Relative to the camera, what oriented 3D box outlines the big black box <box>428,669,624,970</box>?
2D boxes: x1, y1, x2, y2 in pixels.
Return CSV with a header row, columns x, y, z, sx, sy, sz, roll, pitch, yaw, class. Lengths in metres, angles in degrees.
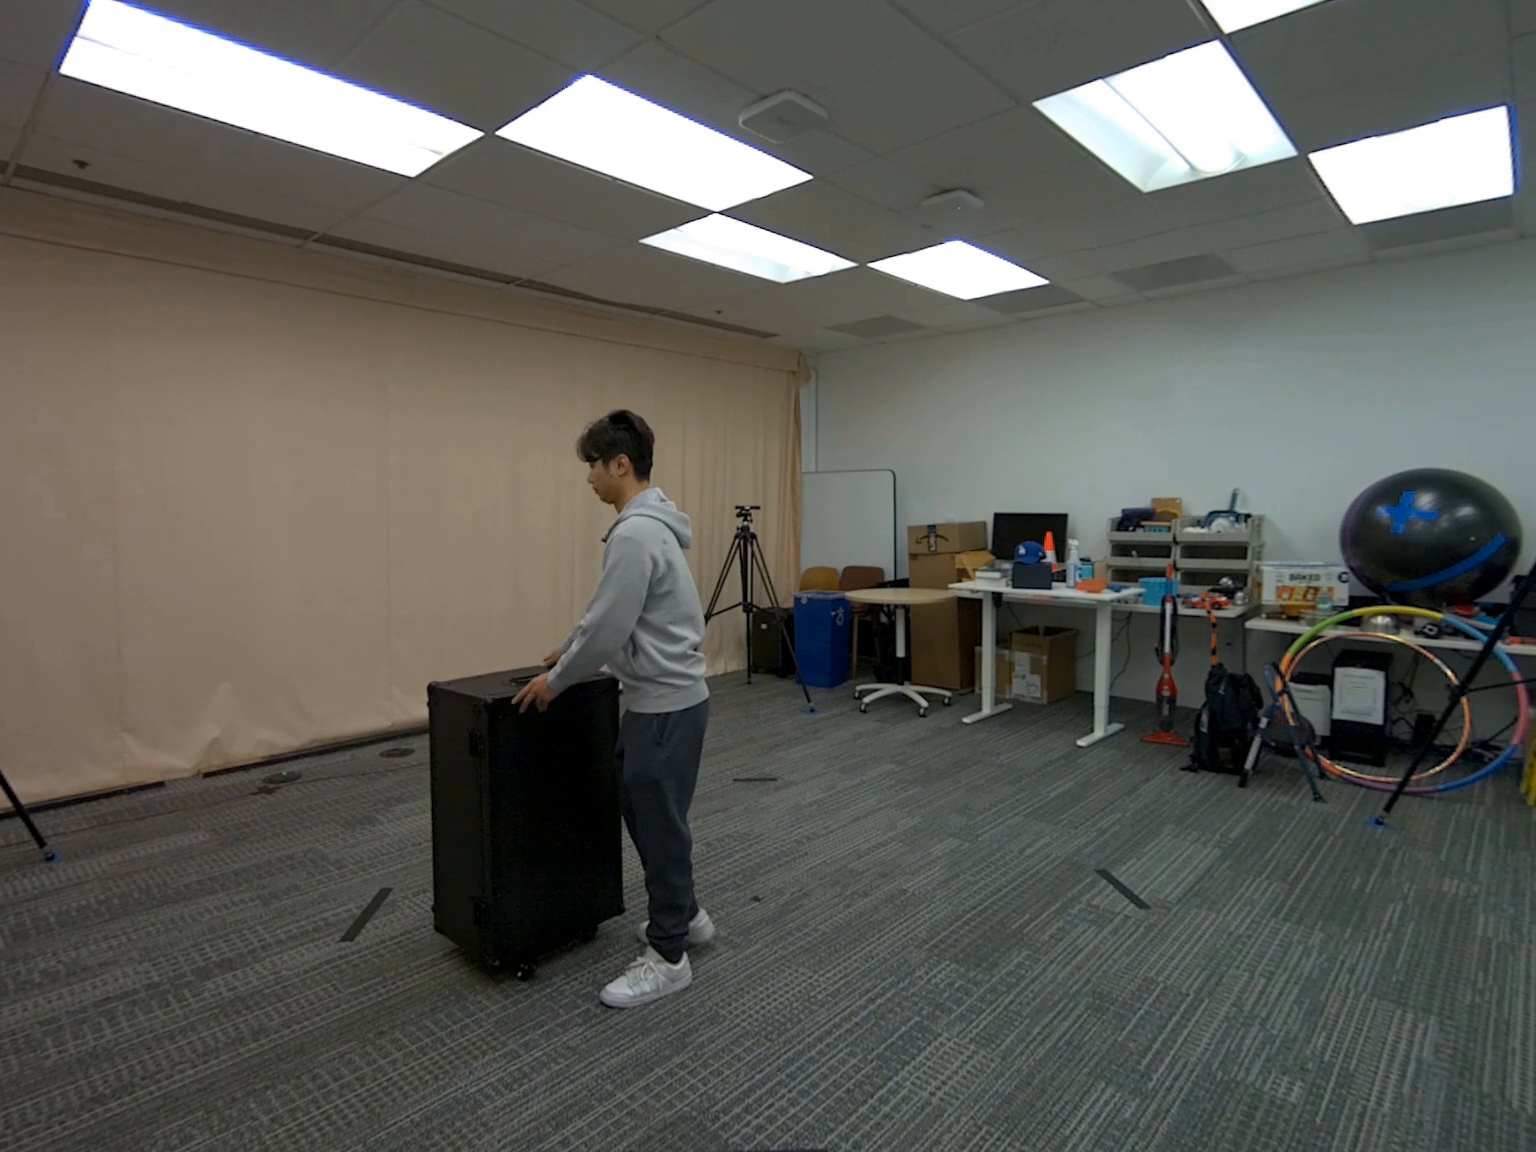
x,y,z,sx,sy,sz,roll,pitch,yaw,class
-0.773,0.751,2.676,0.409,0.860,0.505,2,3,42,big black box
